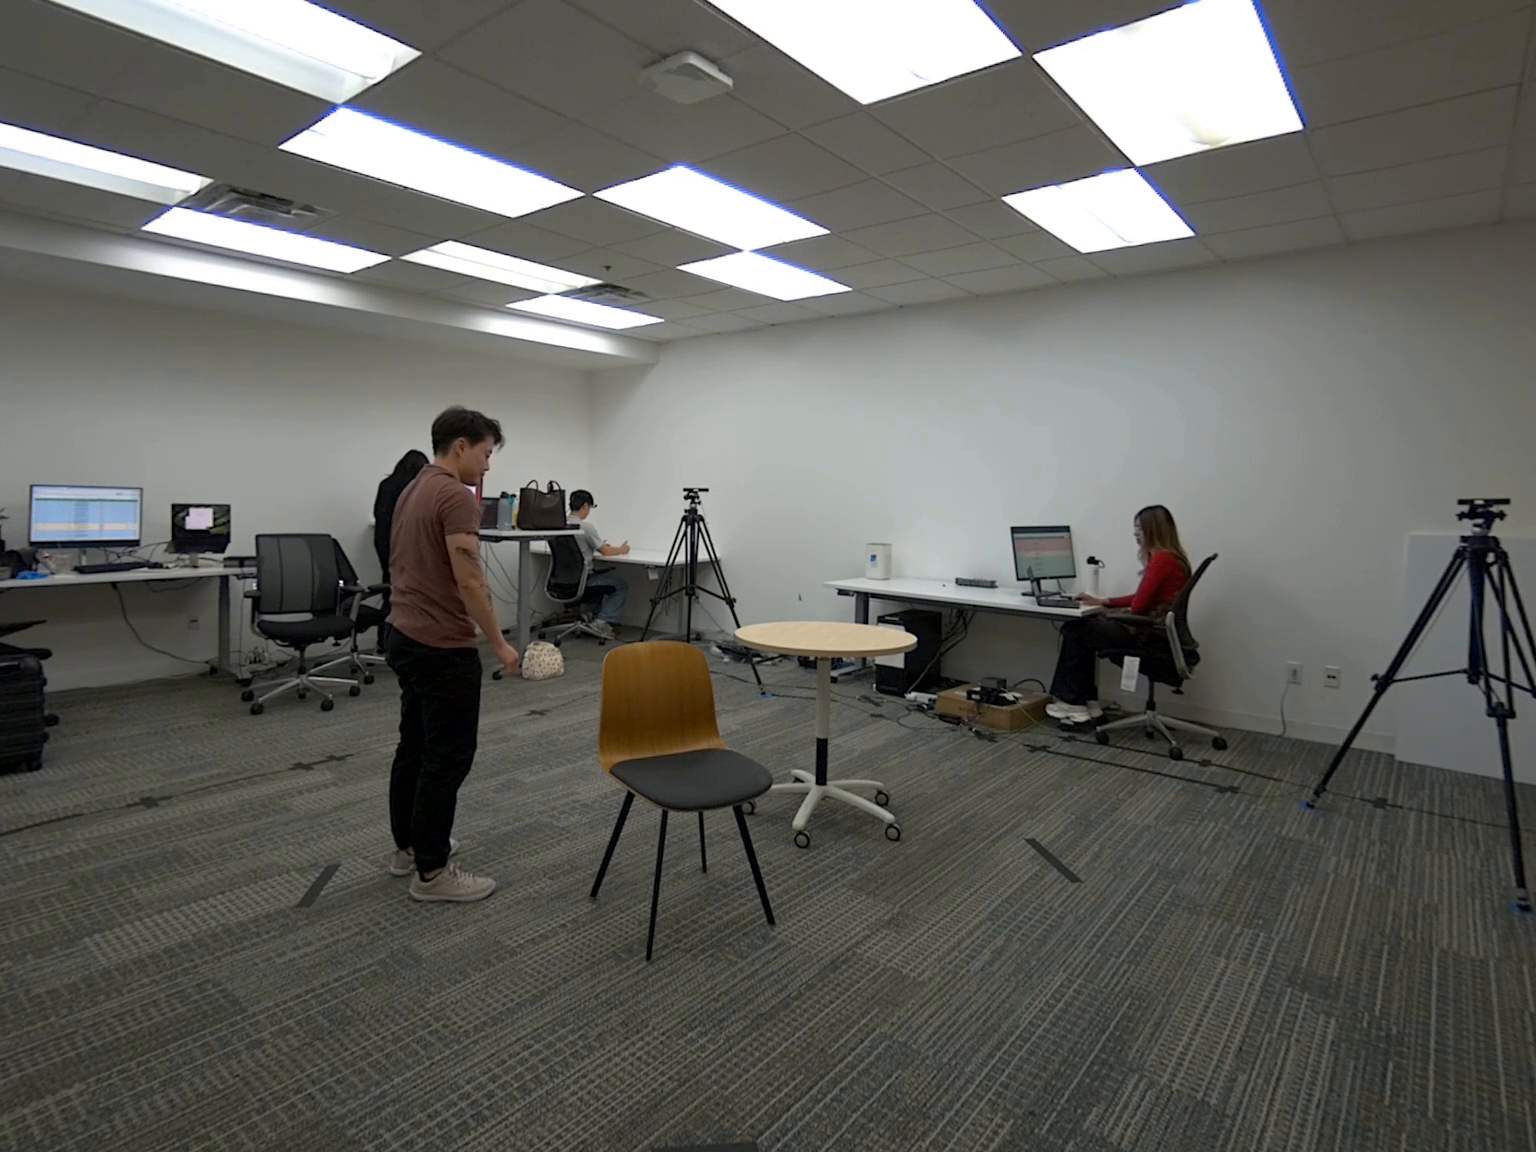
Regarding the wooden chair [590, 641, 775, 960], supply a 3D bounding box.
[{"bbox_3d":[-0.284,0.675,2.766,0.465,0.878,0.537,0,-1,-32],"label":"wooden chair"}]
